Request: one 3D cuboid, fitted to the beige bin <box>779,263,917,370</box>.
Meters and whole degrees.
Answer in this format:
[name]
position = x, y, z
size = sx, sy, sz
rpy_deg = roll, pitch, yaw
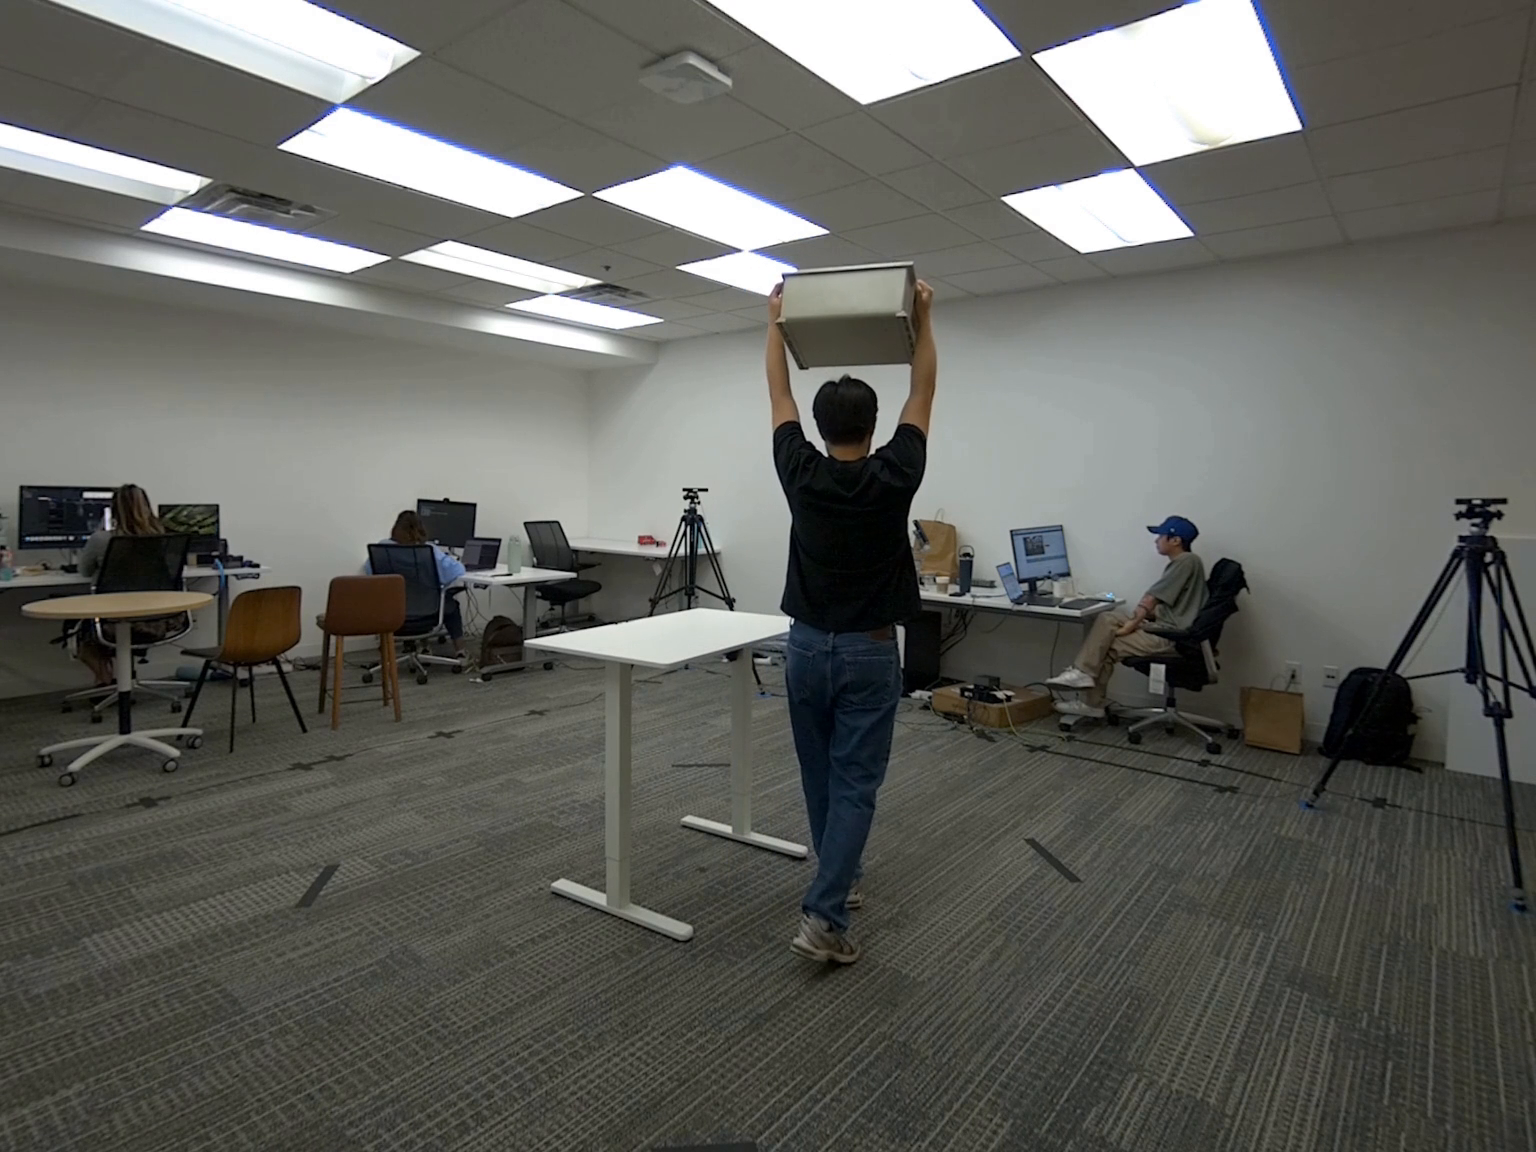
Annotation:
[beige bin]
position = 0.271, -0.826, 2.787
size = 0.432, 0.191, 0.364
rpy_deg = 4, -16, 20
